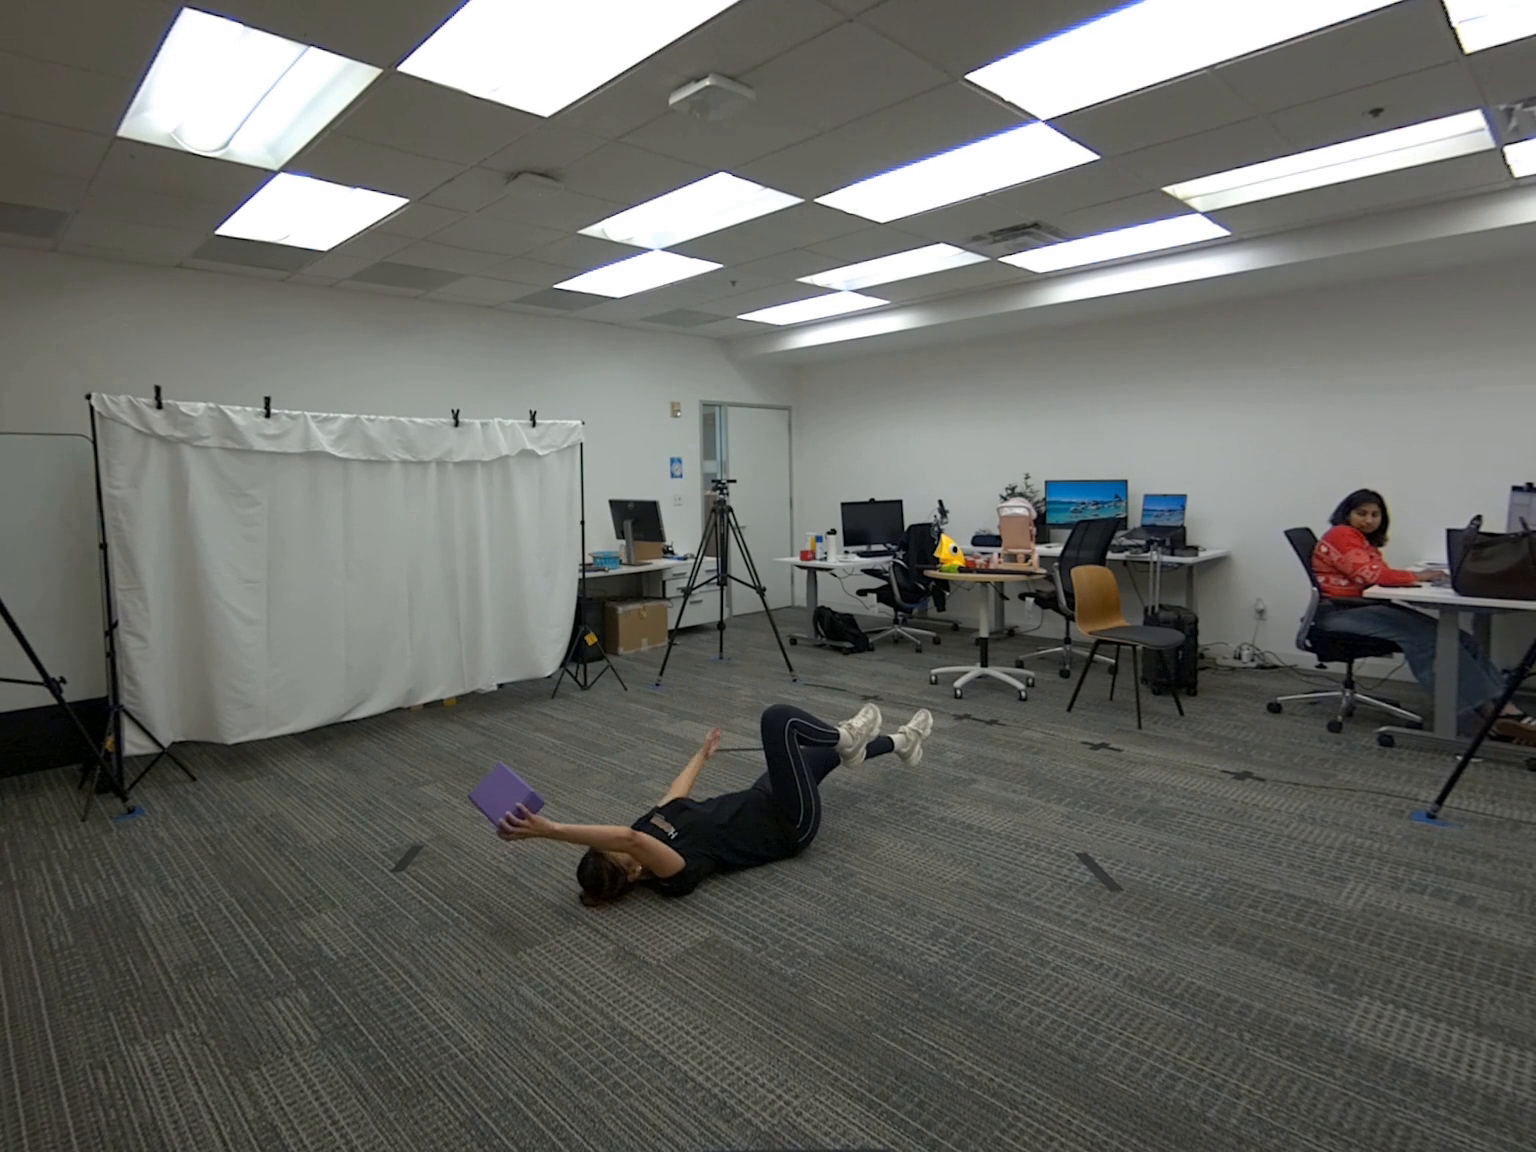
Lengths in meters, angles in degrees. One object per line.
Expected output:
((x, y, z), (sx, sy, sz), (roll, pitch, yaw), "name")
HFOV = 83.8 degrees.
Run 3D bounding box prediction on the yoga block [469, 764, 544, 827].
((-0.802, 0.683, 2.632), (0.238, 0.074, 0.149), (21, 60, 45), "yoga block")
